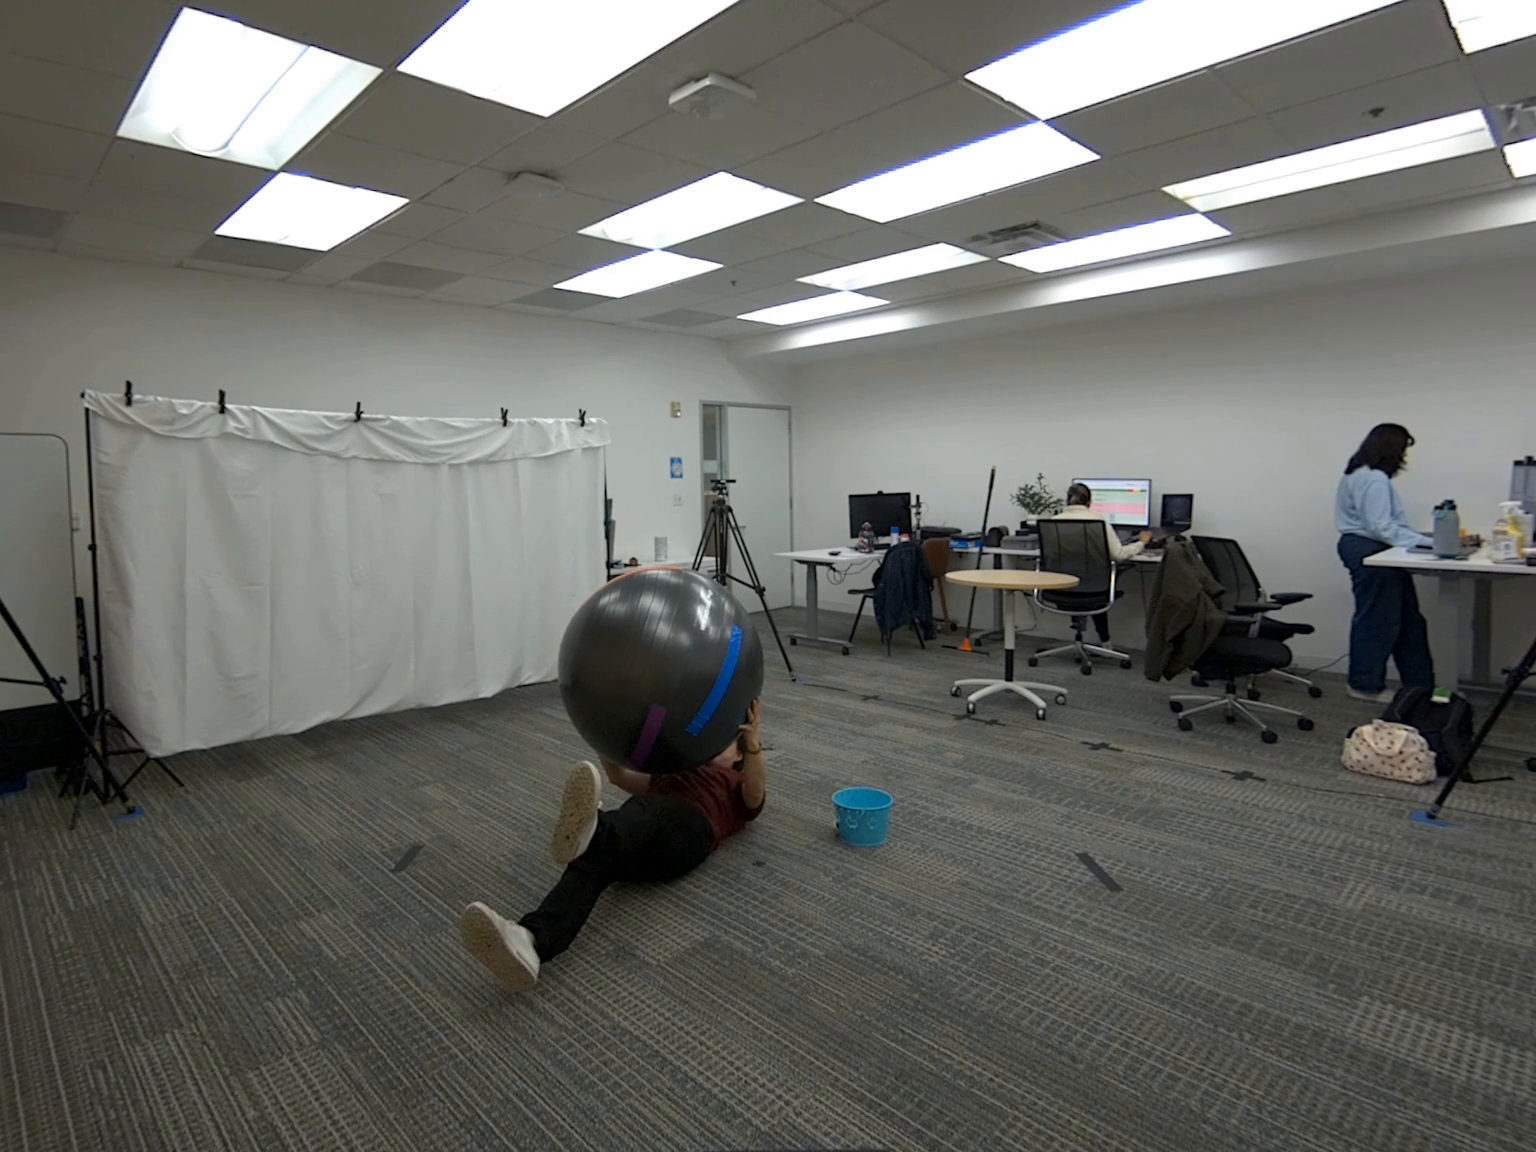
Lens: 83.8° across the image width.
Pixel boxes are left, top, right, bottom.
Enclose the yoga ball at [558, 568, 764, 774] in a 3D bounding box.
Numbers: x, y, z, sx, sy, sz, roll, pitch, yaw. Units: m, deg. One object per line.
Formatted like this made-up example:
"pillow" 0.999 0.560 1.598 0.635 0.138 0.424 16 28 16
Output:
"yoga ball" -0.396 0.346 3.178 0.757 0.755 0.762 -1 5 -2
